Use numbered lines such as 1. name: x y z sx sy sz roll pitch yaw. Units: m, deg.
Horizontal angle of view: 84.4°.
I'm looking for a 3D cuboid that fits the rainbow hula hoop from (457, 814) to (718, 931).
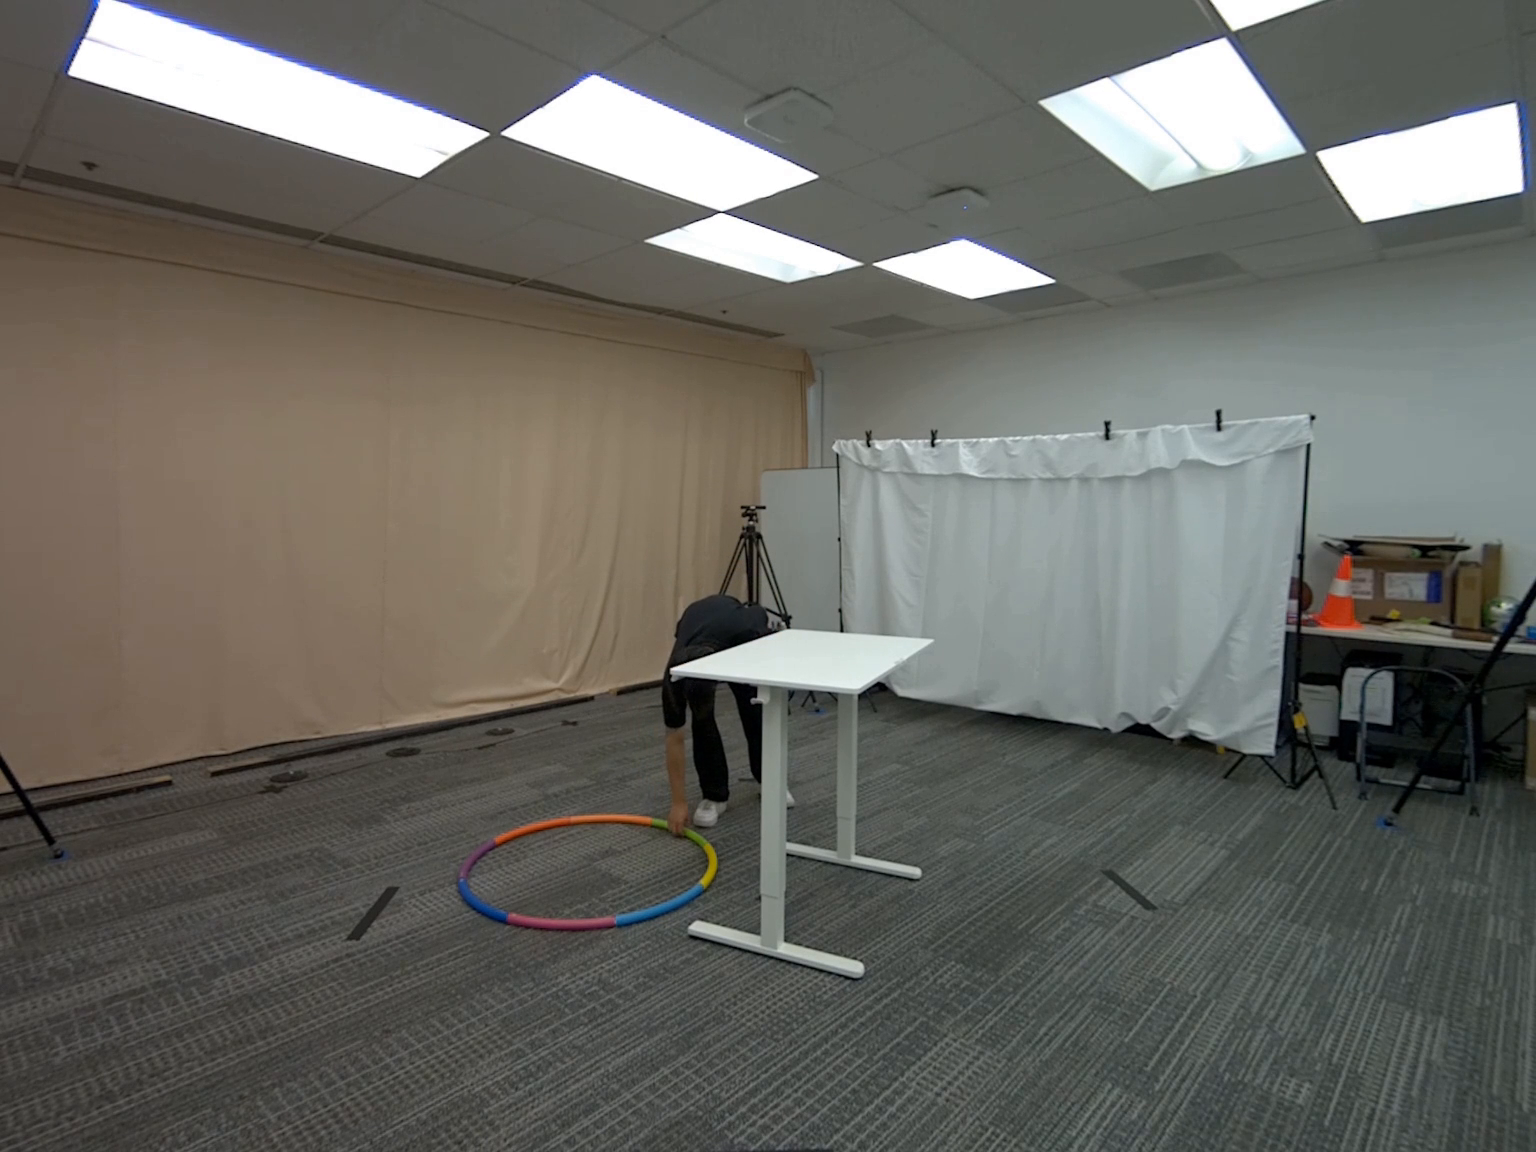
1. rainbow hula hoop: -0.680 1.101 3.245 0.978 0.035 0.982 0 5 -2
